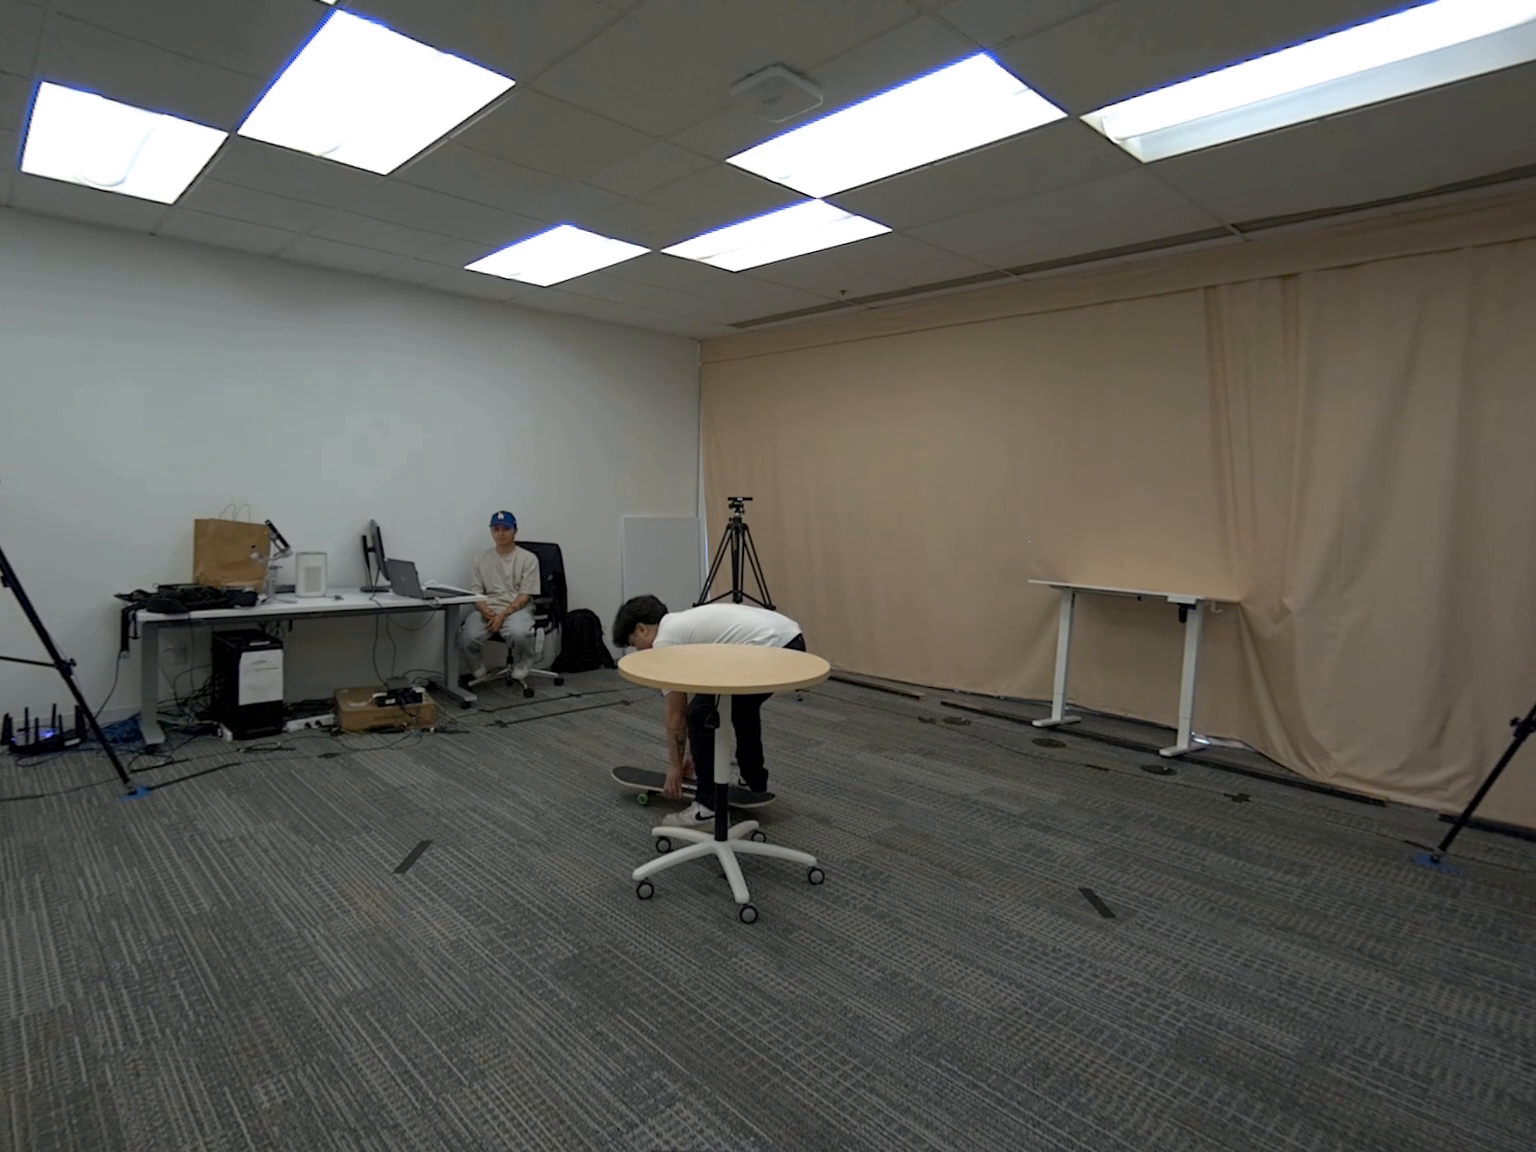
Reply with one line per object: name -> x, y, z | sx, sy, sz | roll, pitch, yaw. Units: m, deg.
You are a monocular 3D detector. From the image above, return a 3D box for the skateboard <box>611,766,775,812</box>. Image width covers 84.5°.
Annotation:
skateboard -> -0.354, 0.983, 3.791 | 0.798, 0.110, 0.191 | 5, 6, 20
